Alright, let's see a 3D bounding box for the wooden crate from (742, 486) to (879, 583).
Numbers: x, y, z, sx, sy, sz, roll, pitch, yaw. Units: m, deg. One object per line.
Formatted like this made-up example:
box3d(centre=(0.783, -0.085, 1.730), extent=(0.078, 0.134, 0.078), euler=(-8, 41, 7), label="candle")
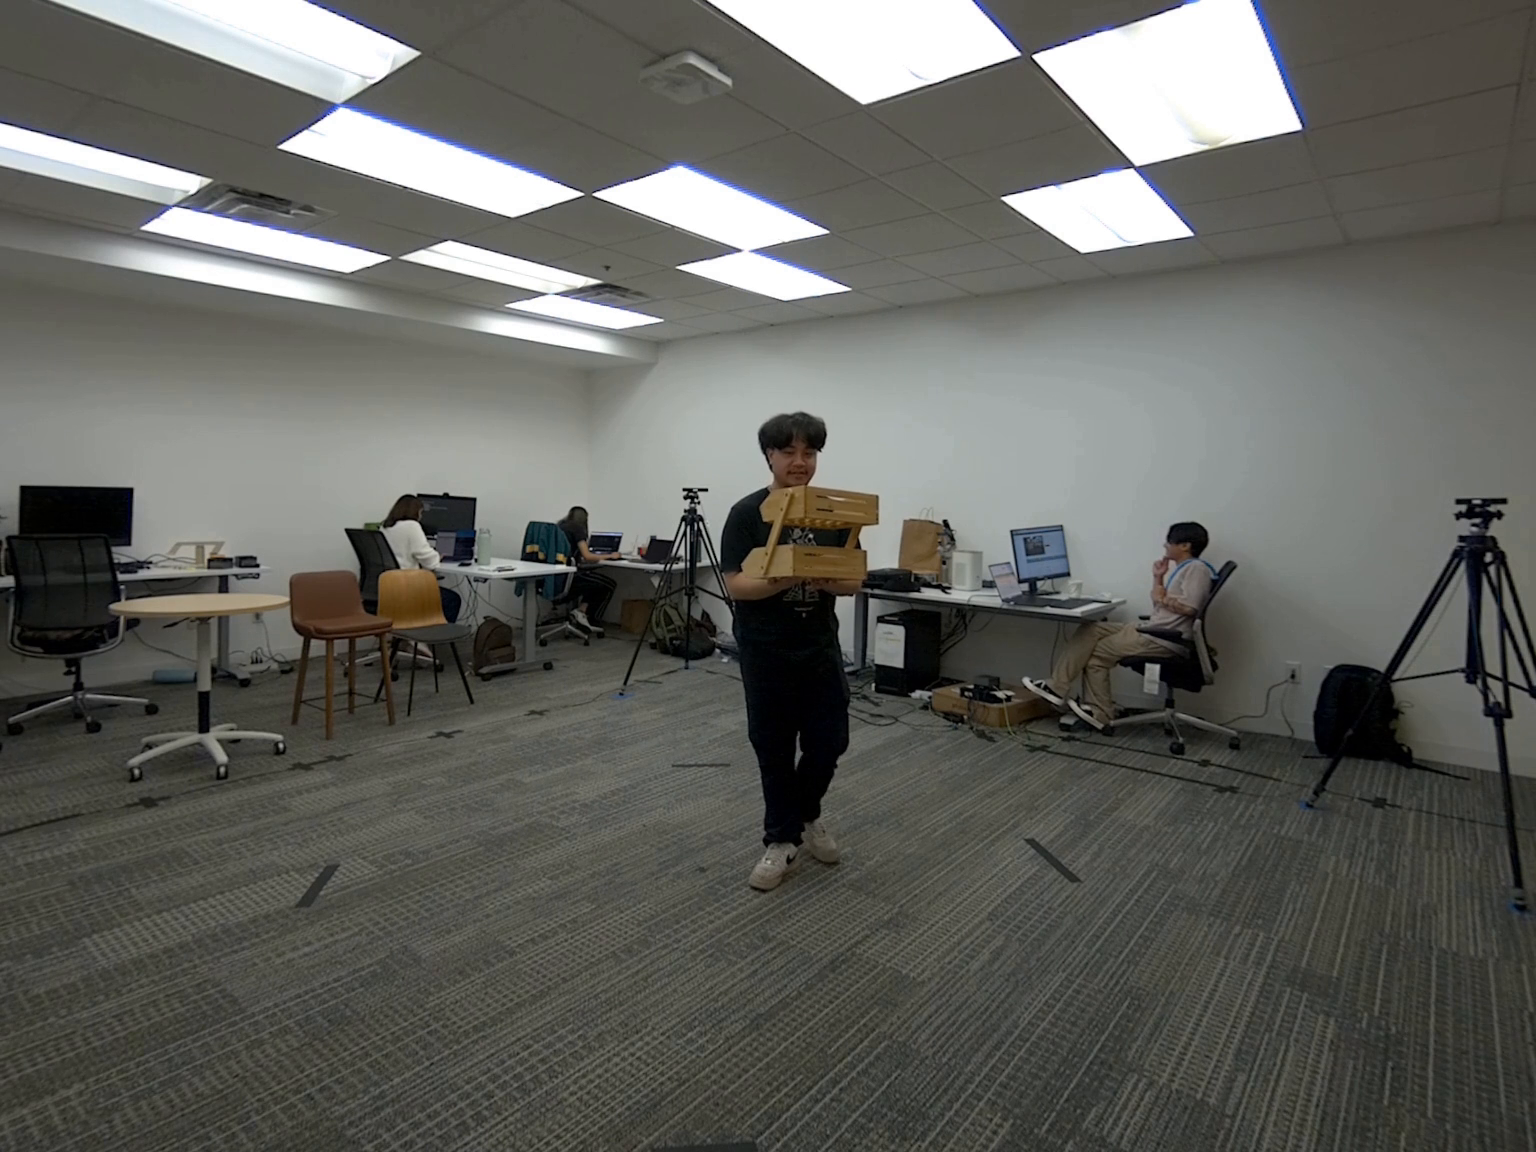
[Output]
box3d(centre=(0.123, -0.131, 2.645), extent=(0.314, 0.274, 0.310), euler=(3, -5, -37), label="wooden crate")
